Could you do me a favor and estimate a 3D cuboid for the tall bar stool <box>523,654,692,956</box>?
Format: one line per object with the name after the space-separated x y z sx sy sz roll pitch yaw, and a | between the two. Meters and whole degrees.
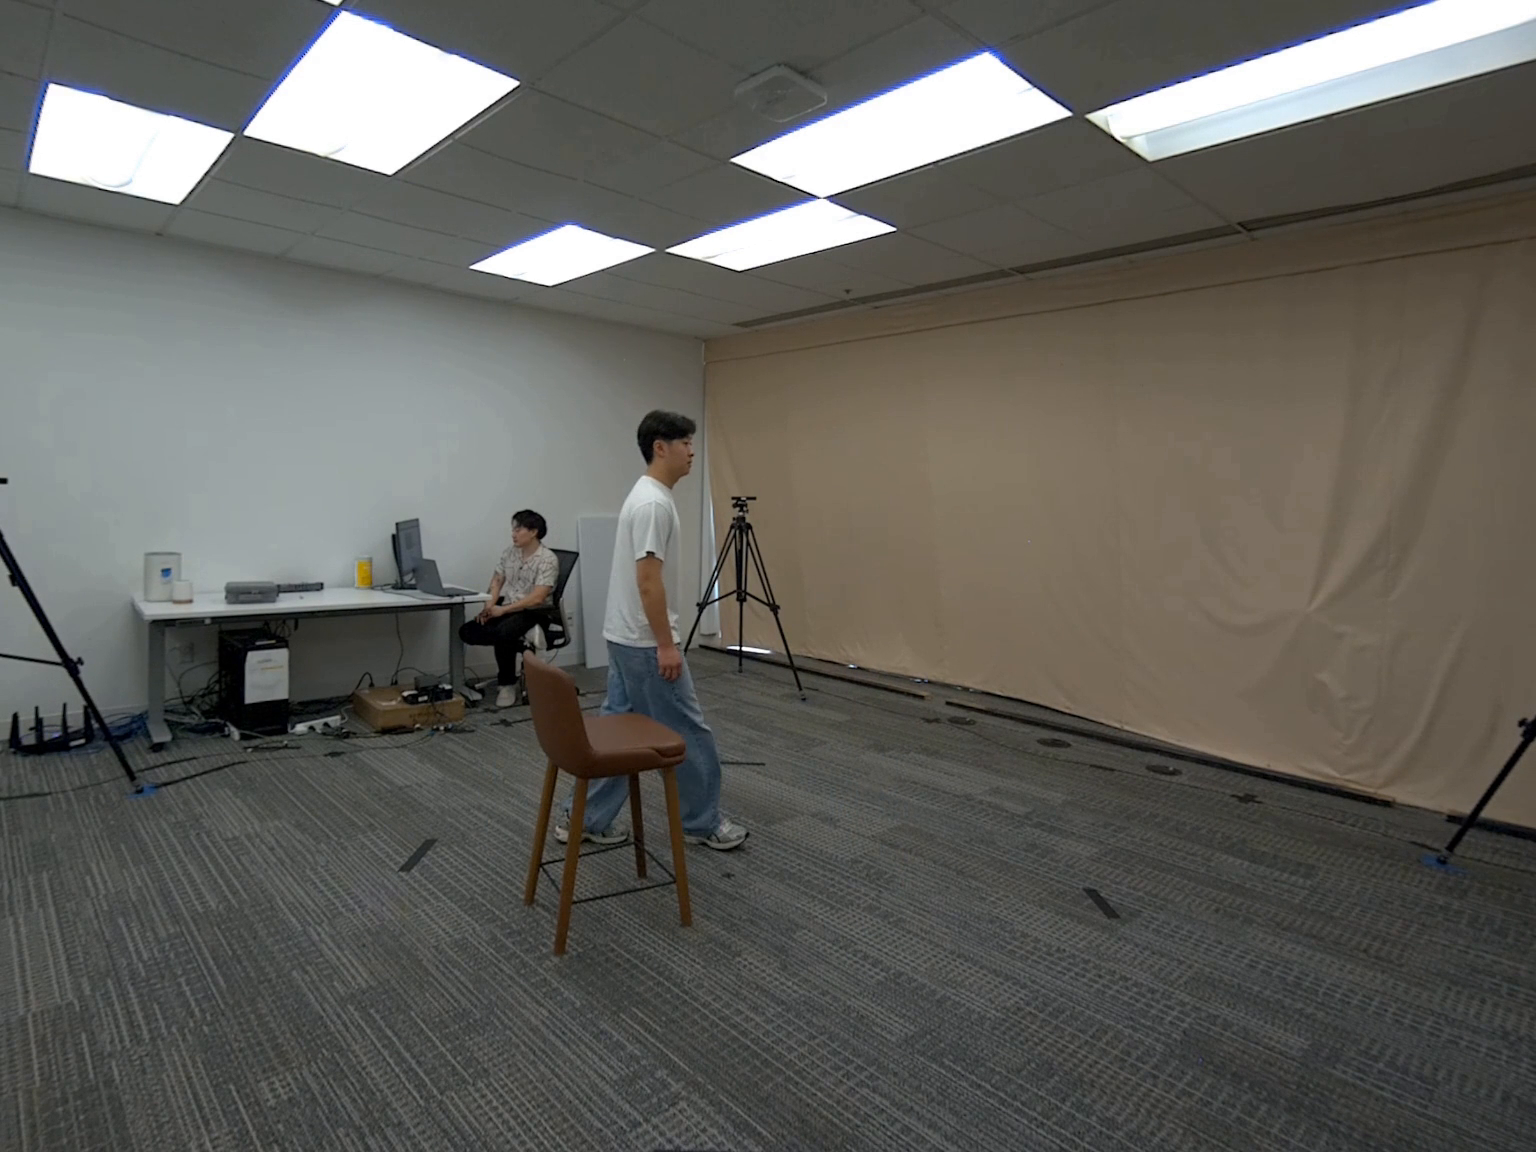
-0.544 0.689 2.777 0.458 0.887 0.467 -3 5 -31 | tall bar stool
